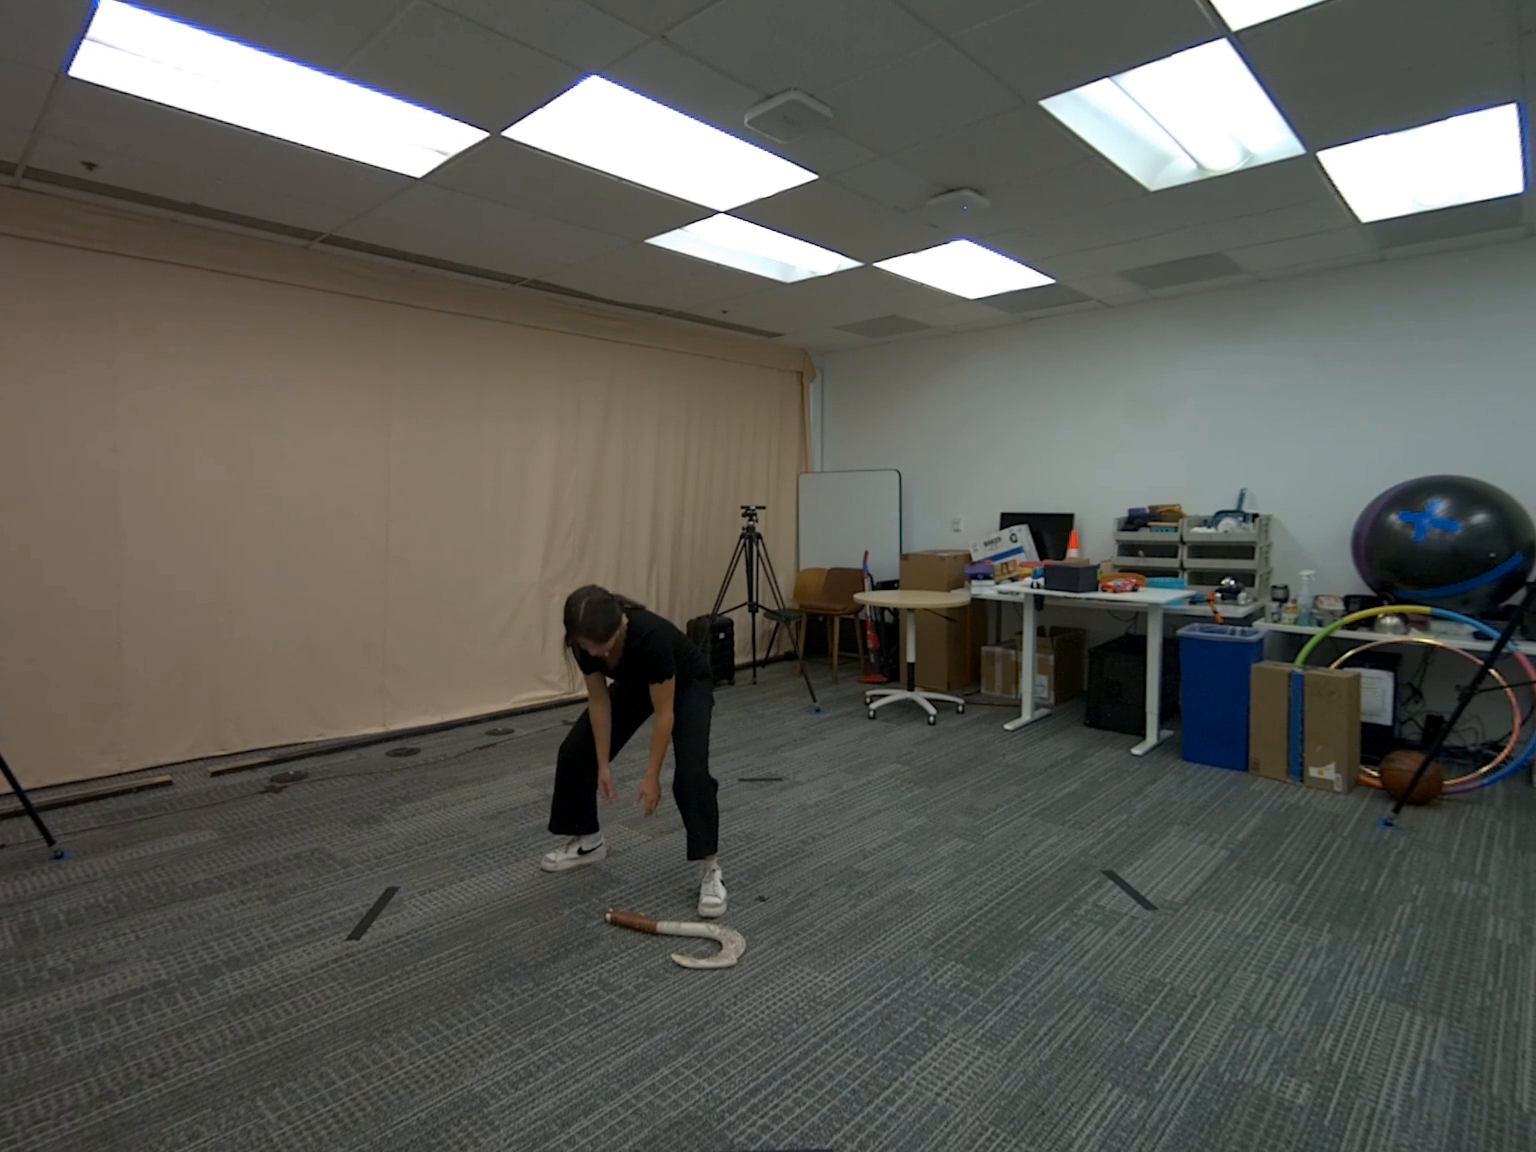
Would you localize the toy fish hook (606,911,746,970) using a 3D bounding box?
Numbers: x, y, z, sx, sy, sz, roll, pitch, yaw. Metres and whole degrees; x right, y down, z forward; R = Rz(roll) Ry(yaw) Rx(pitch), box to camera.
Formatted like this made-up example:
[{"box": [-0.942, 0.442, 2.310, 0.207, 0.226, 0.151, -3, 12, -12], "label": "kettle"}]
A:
[{"box": [-0.321, 1.150, 2.673, 0.518, 0.048, 0.220, 1, 3, 21], "label": "toy fish hook"}]
